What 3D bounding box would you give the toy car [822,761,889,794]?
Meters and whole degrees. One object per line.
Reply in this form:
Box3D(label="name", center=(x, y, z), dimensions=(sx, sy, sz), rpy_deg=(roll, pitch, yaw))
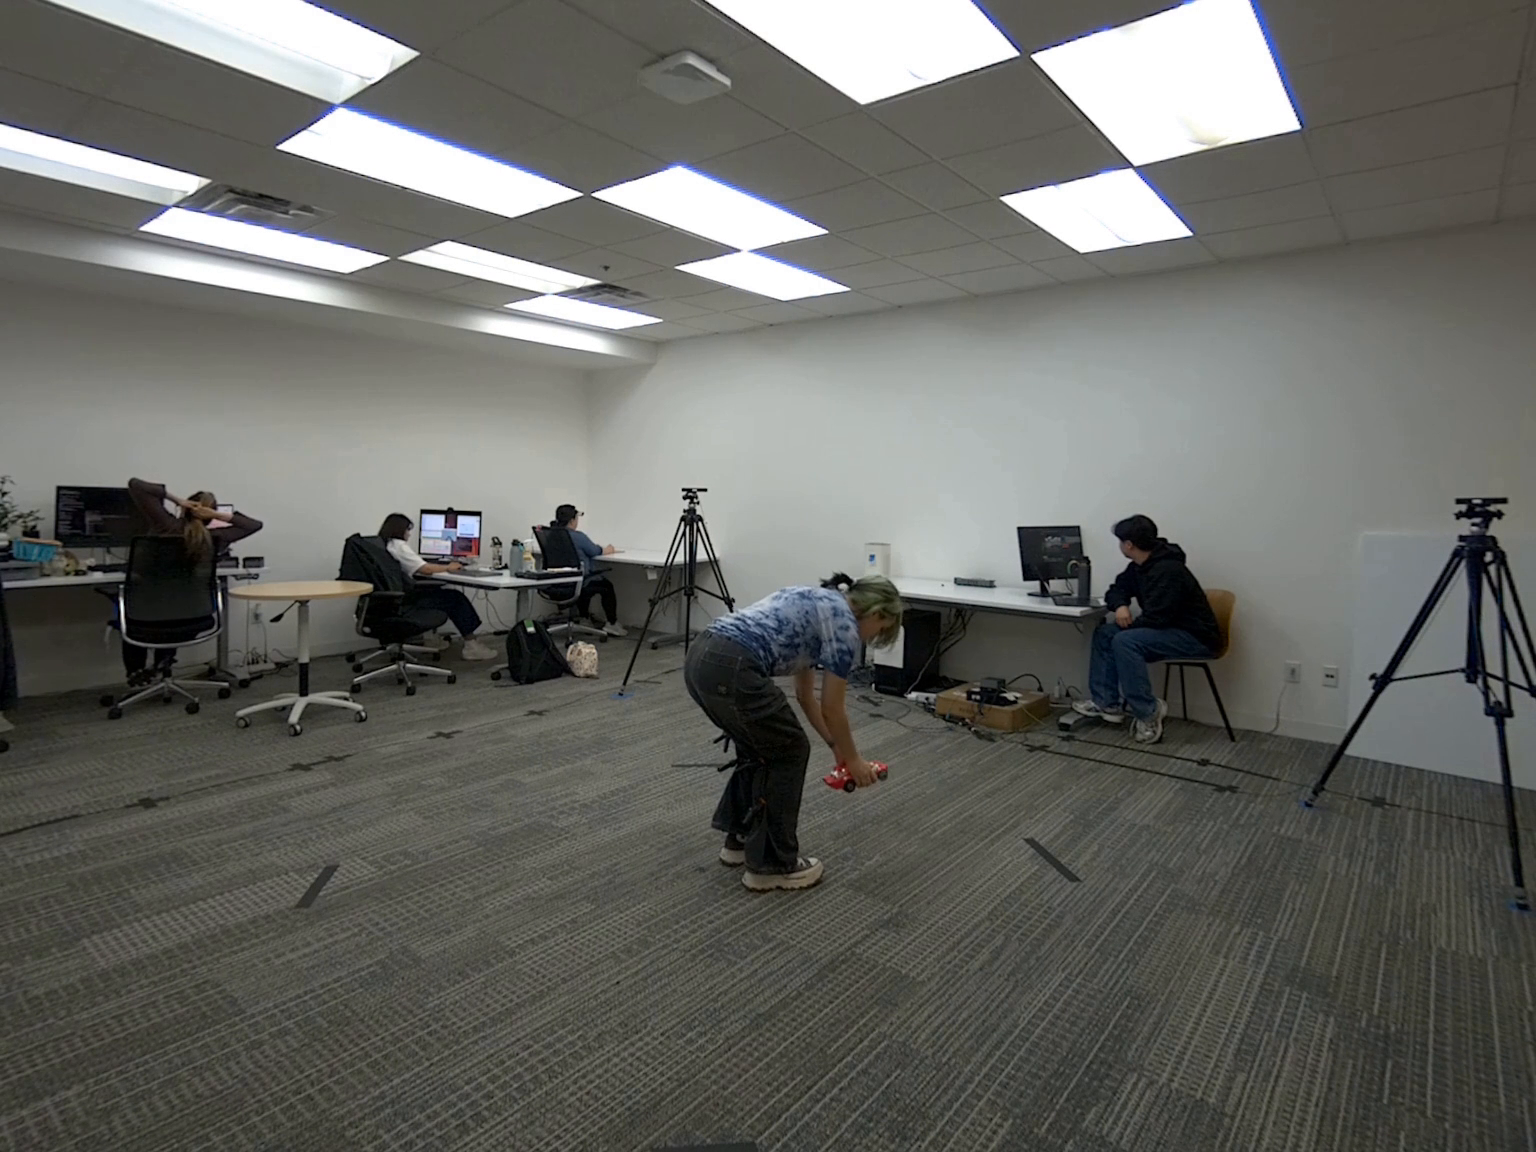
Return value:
Box3D(label="toy car", center=(0.314, 0.740, 3.191), dimensions=(0.250, 0.083, 0.133), rpy_deg=(-2, 4, -18))
